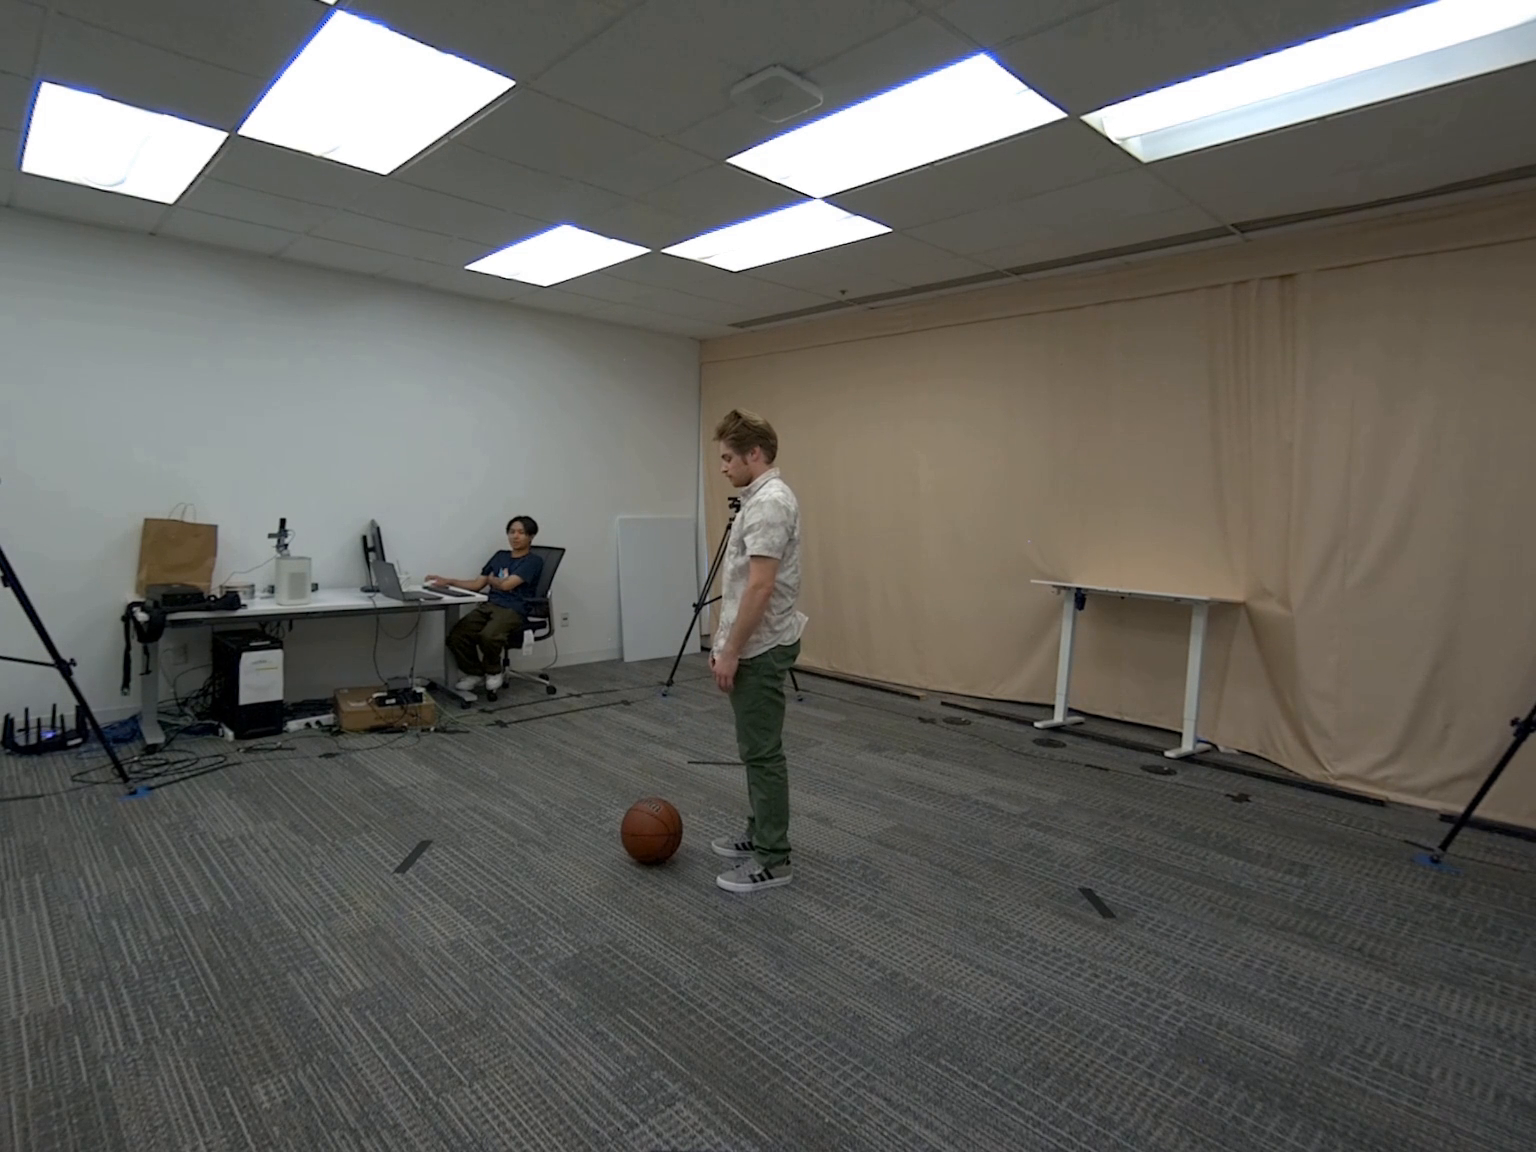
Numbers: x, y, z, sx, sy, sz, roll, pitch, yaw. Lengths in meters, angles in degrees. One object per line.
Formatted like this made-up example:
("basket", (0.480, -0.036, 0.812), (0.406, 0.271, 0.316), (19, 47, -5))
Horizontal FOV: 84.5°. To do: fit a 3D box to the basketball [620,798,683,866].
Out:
("basketball", (-0.444, 0.965, 3.211), (0.236, 0.235, 0.237), (1, 4, -1))
